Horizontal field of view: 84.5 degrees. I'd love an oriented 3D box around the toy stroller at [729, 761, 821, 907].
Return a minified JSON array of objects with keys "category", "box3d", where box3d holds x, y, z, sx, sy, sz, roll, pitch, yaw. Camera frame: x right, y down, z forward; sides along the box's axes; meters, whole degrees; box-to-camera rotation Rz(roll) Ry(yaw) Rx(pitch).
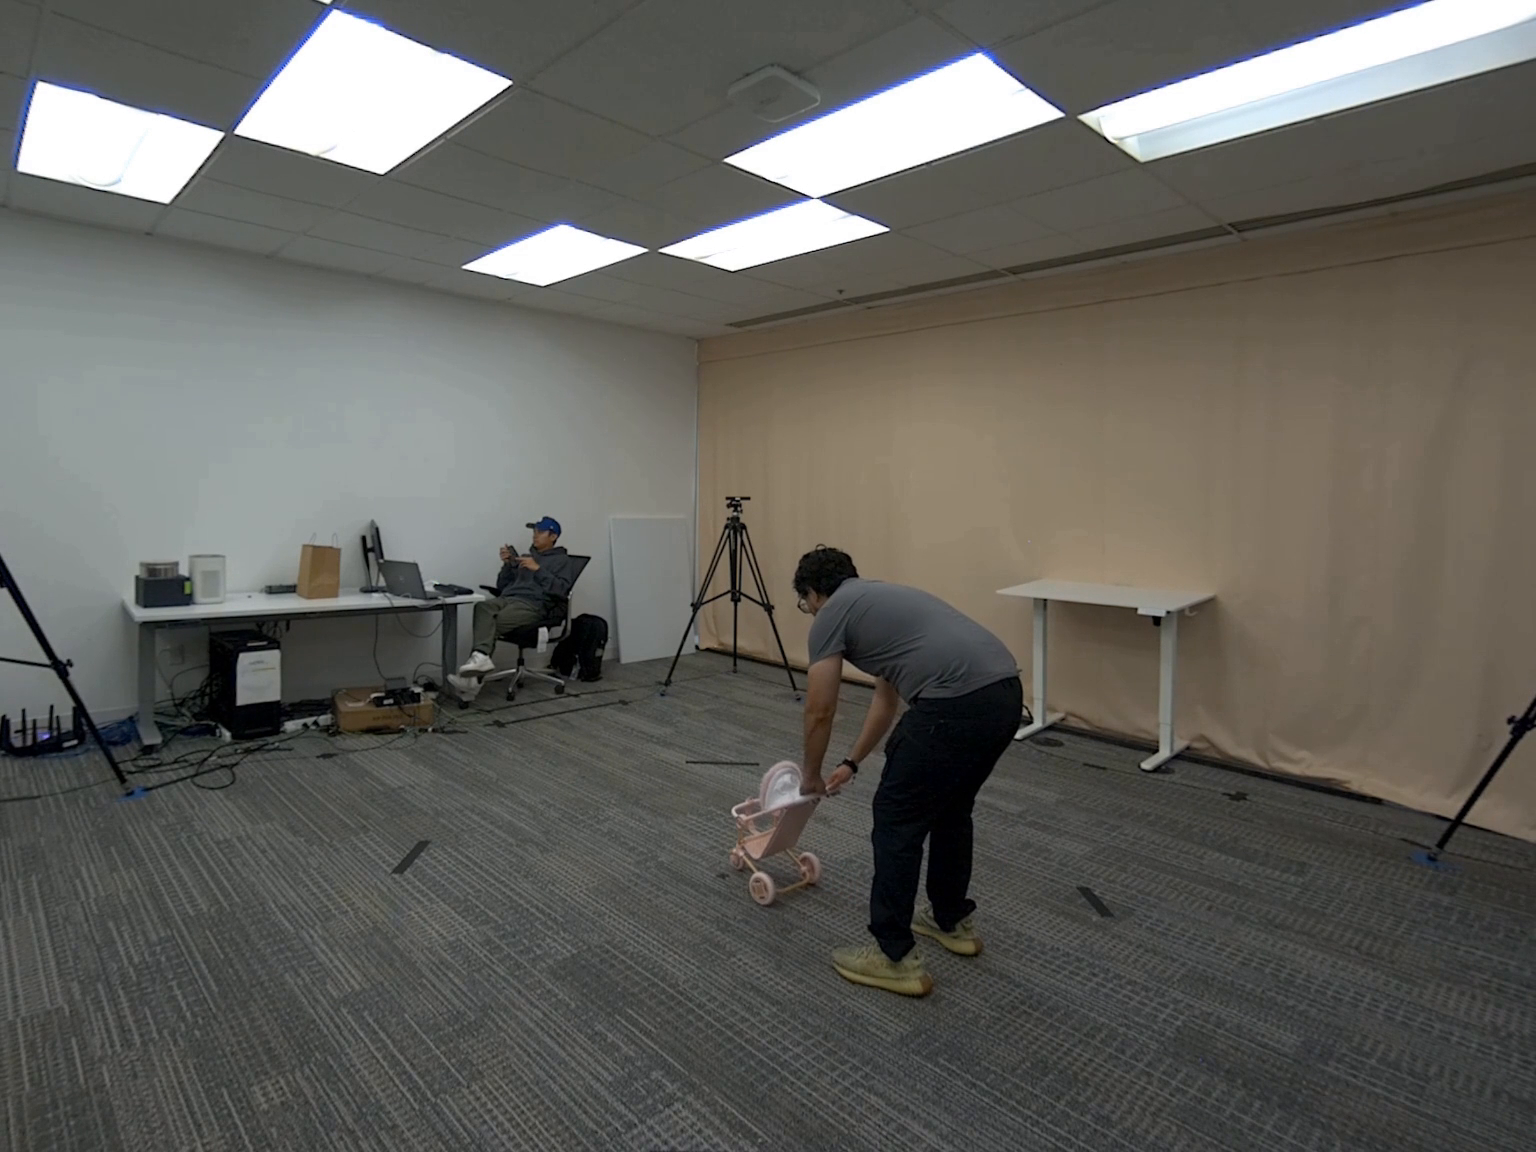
[{"category":"toy stroller","box3d":[0.026,0.893,3.007,0.275,0.530,0.352,-1,22,-41]}]
